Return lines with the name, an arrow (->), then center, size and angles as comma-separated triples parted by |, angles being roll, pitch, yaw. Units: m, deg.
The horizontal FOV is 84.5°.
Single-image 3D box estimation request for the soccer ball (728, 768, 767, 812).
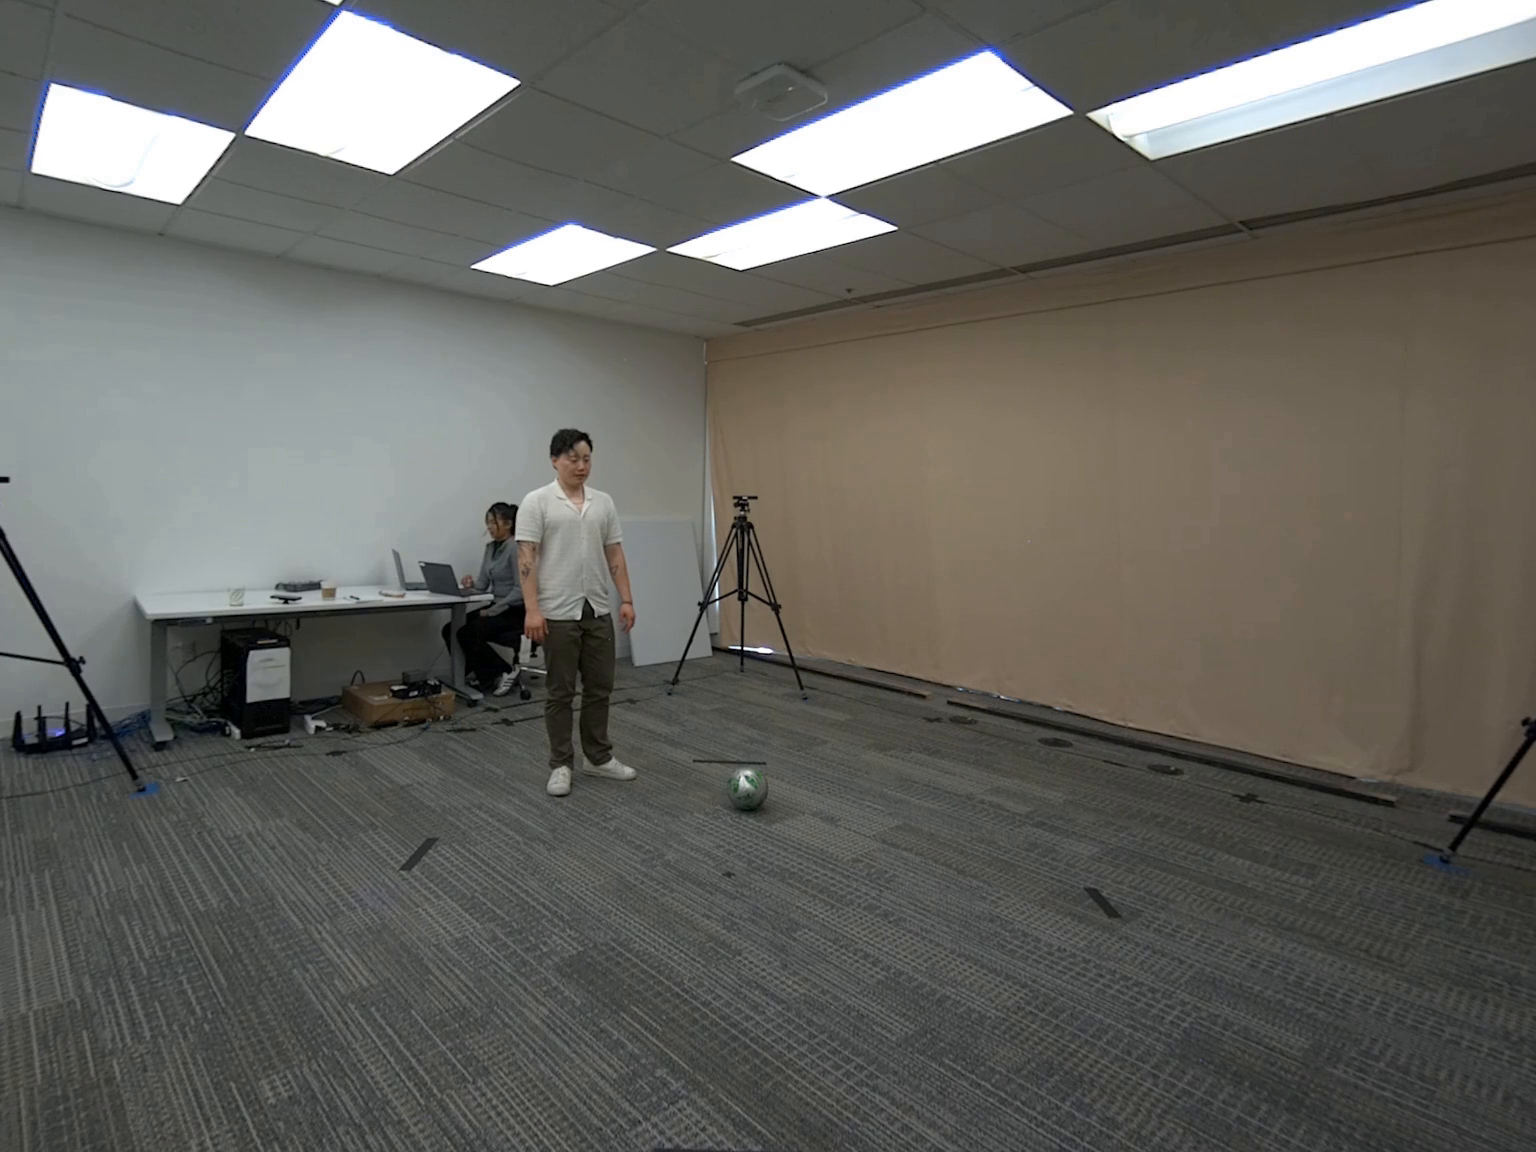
soccer ball -> -0.107, 0.951, 3.777 | 0.187, 0.187, 0.188 | 1, 4, -1
